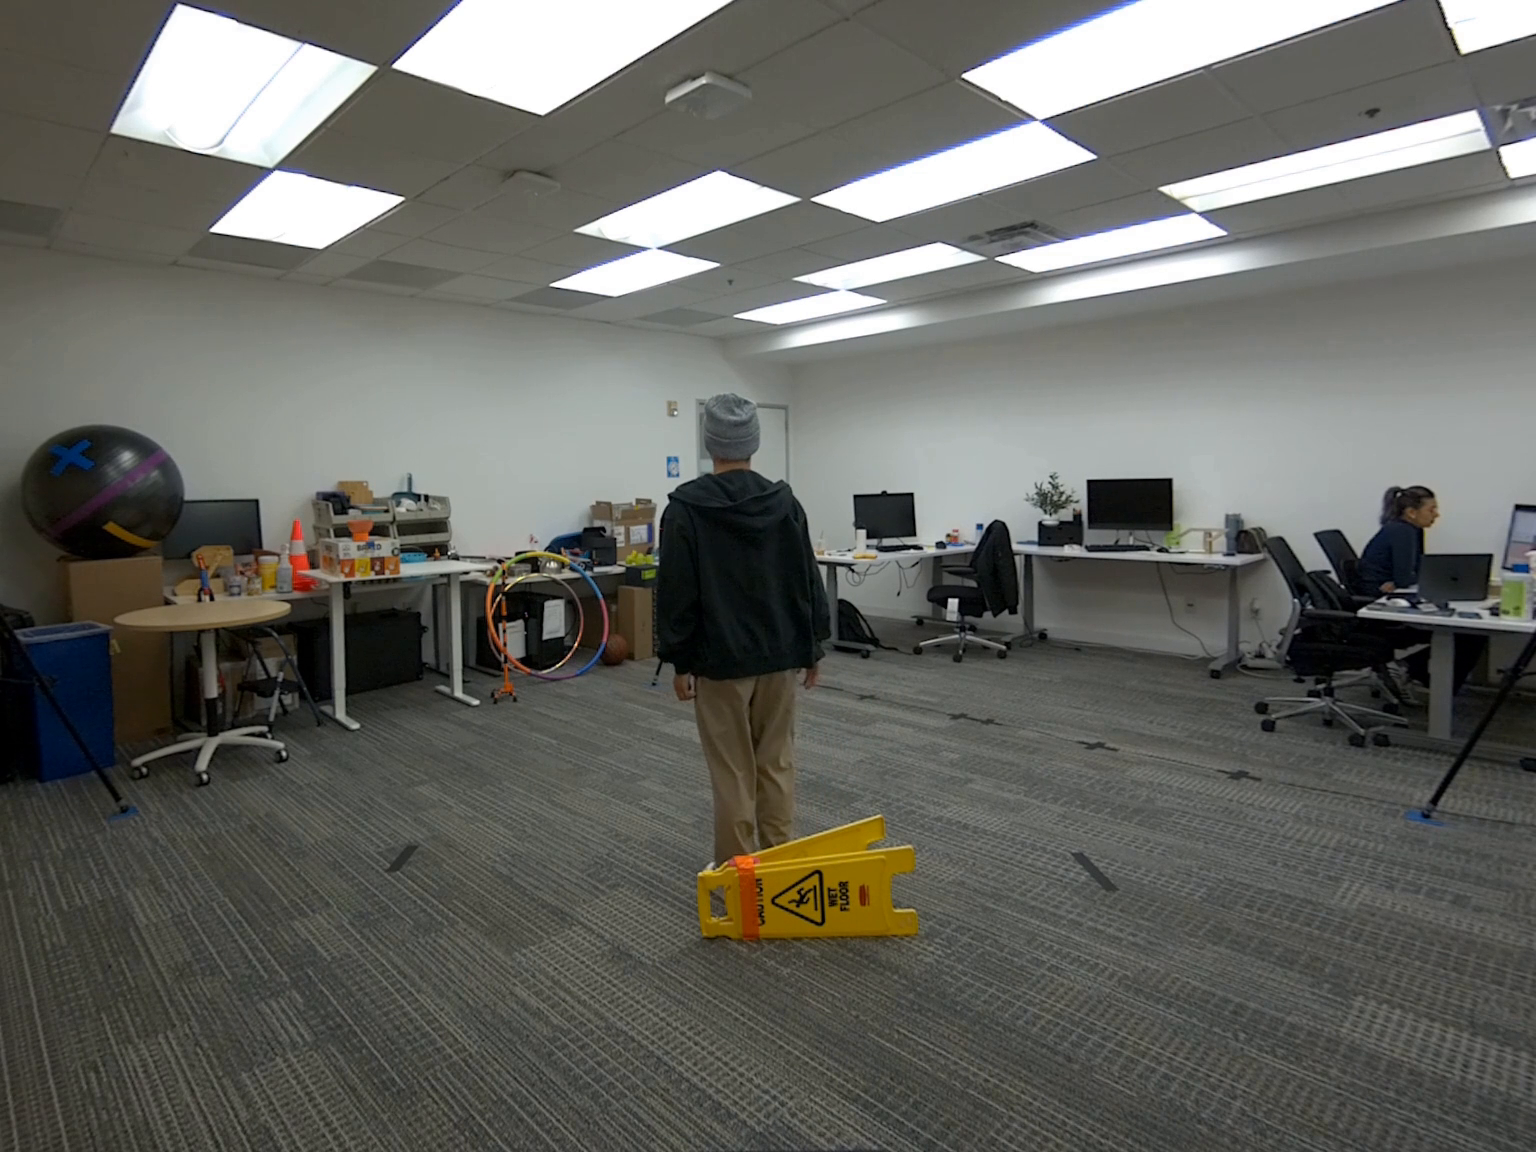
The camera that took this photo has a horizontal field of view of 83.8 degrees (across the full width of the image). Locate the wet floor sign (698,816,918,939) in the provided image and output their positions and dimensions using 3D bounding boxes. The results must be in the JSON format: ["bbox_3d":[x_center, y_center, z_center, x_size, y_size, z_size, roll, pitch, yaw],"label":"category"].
[{"bbox_3d":[0.110,0.970,2.646,0.640,0.281,0.294,-6,7,-11],"label":"wet floor sign"}]
